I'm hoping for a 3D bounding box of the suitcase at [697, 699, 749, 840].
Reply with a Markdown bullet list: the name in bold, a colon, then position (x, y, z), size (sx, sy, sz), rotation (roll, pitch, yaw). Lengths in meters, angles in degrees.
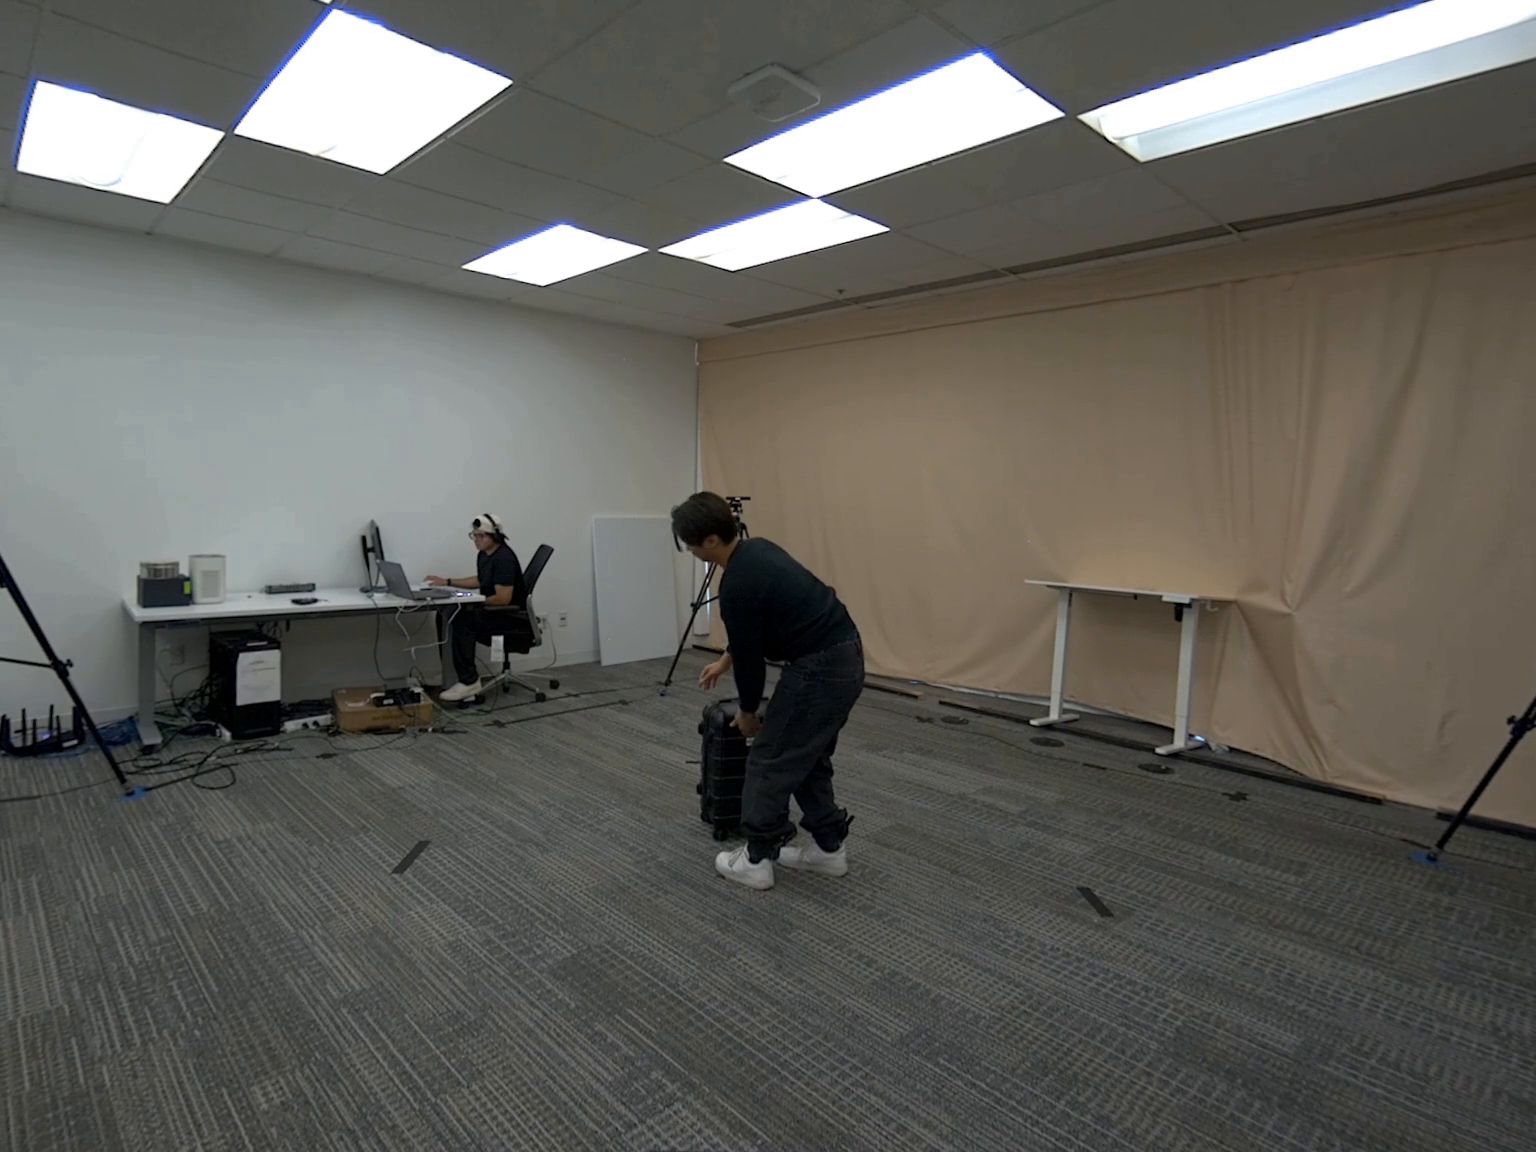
- **suitcase**: position (-0.099, 0.790, 3.537), size (0.370, 0.547, 0.253), rotation (0, 5, -19)
